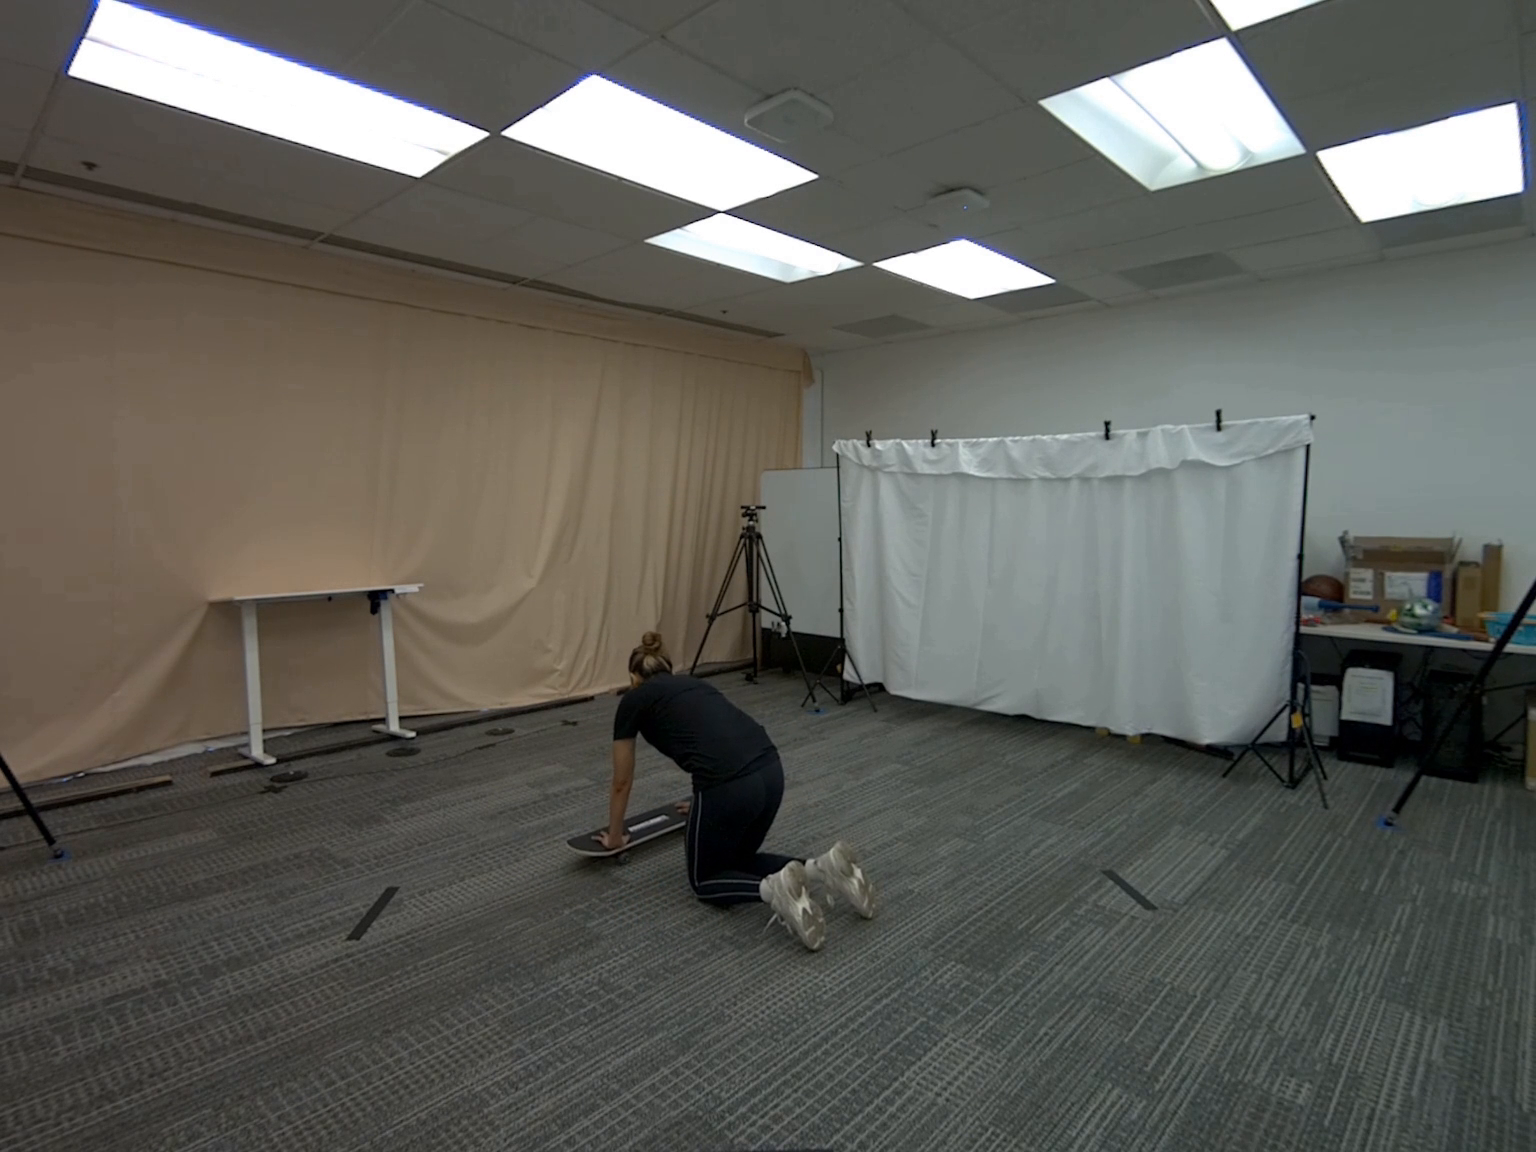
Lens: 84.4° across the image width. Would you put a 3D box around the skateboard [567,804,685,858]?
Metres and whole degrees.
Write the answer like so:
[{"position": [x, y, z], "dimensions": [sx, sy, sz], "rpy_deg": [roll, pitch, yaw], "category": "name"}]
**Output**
[{"position": [-0.492, 1.050, 3.469], "dimensions": [0.200, 0.110, 0.762], "rpy_deg": [6, 8, 42], "category": "skateboard"}]
